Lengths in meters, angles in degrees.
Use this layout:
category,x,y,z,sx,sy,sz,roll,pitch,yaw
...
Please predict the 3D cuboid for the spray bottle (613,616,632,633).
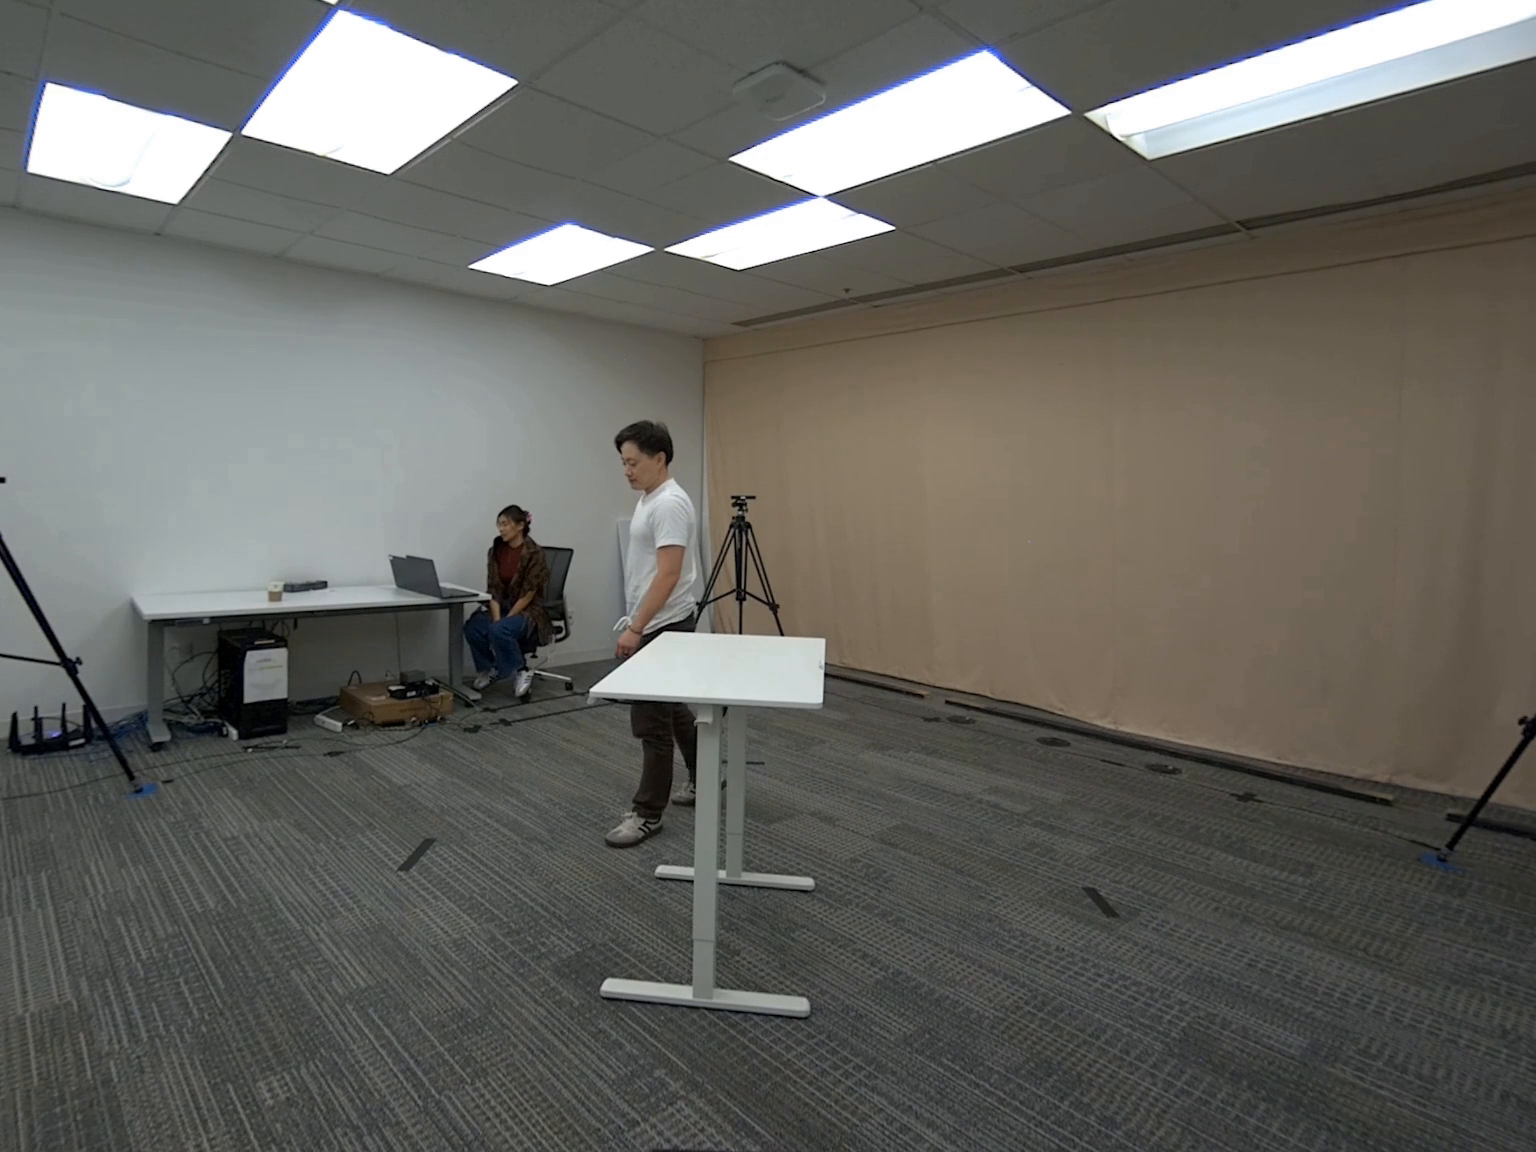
category,x,y,z,sx,sy,sz,roll,pitch,yaw
spray bottle,-0.561,0.268,3.774,0.290,0.089,0.090,29,-53,-27
